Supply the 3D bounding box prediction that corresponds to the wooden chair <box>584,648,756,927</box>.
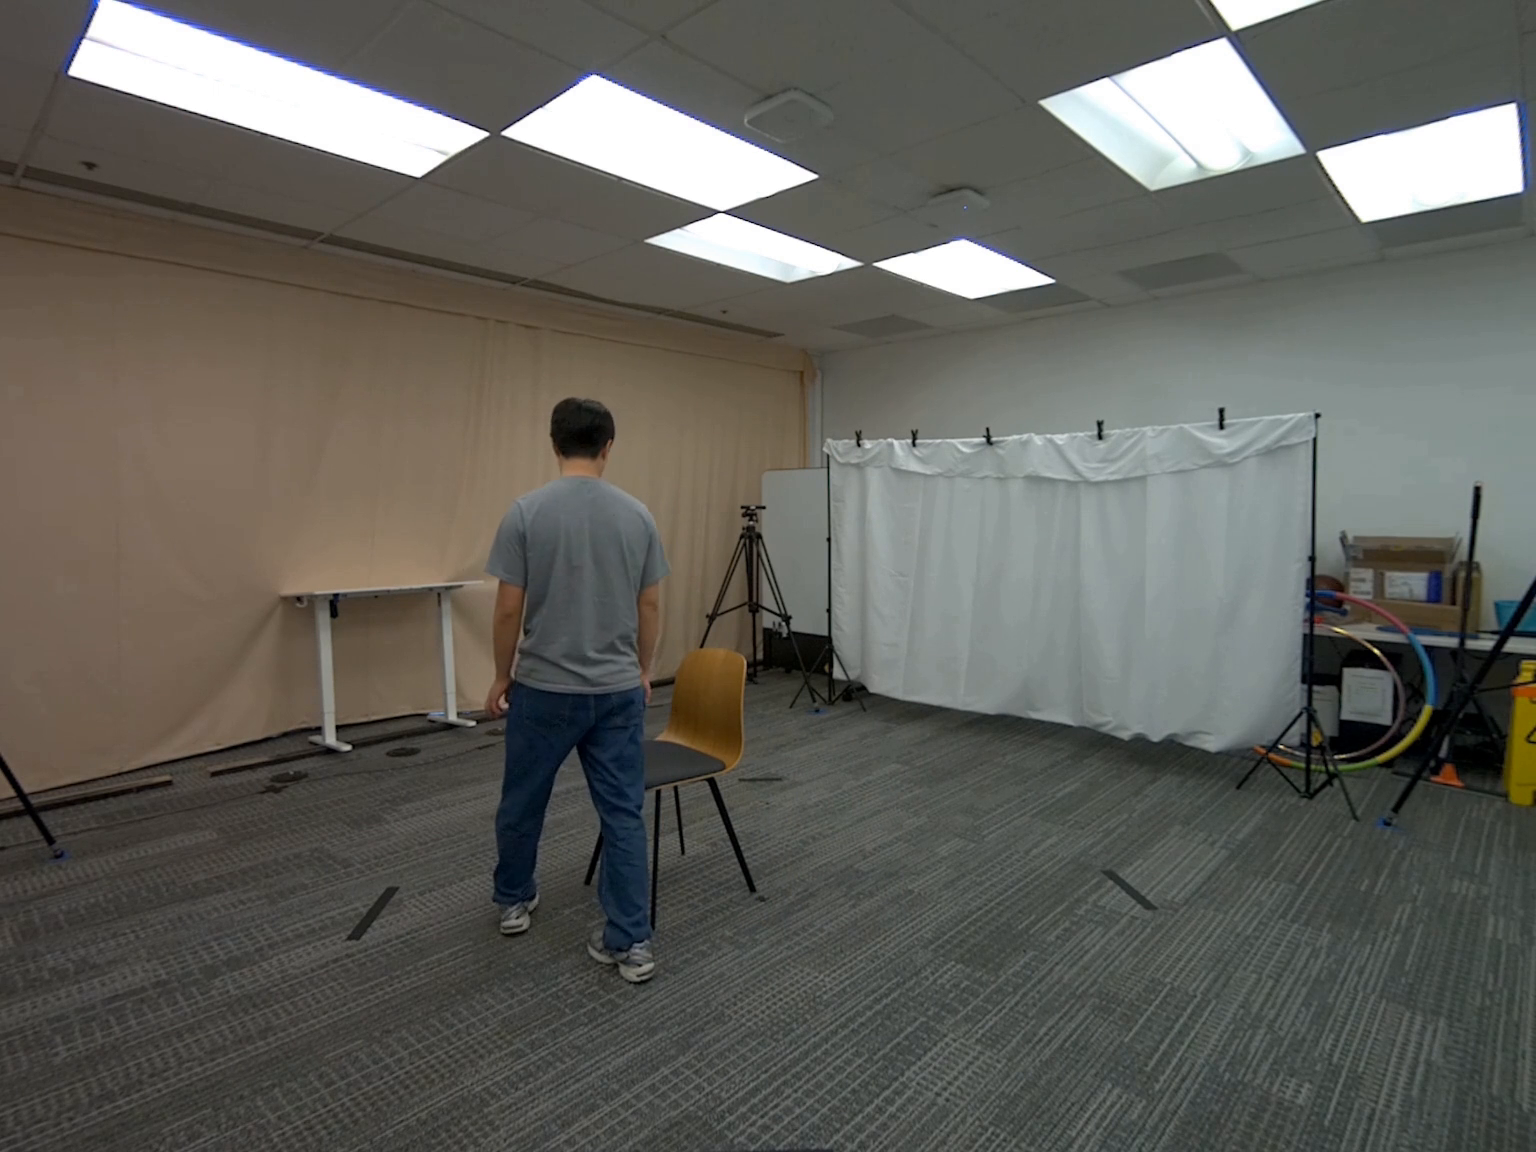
[{"bbox_3d":[-0.366,0.716,3.037,0.506,0.877,0.494,2,1,-40],"label":"wooden chair"}]
